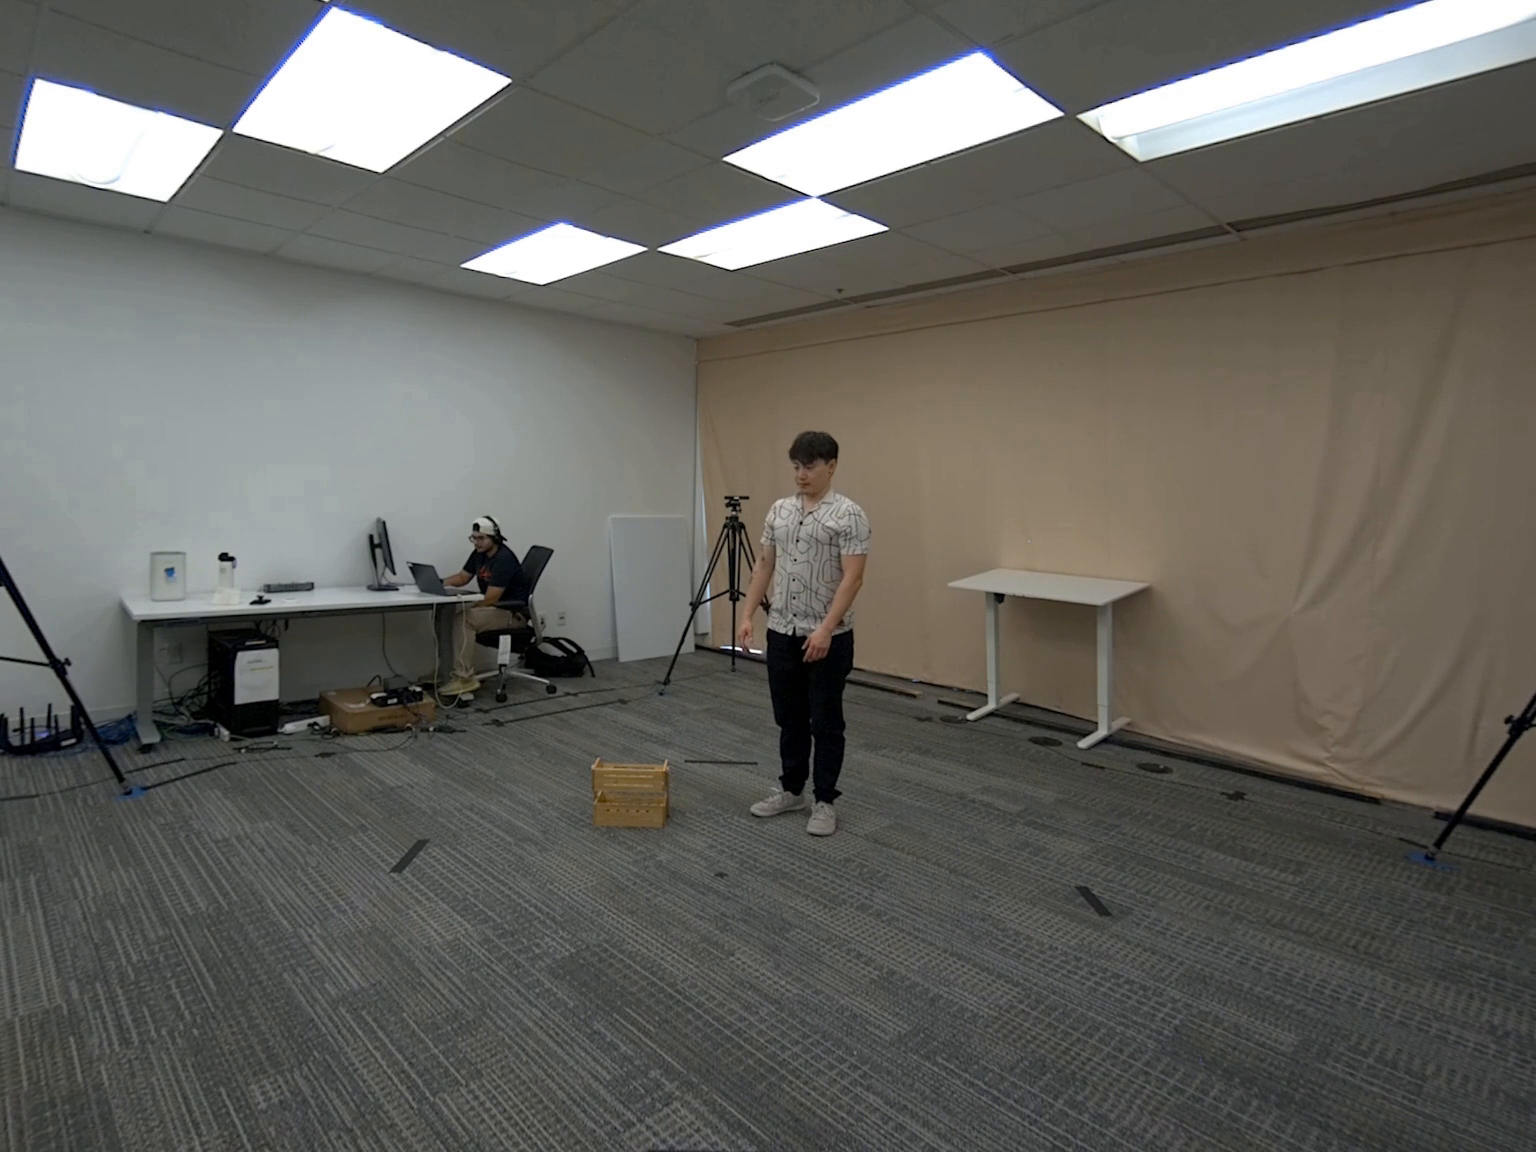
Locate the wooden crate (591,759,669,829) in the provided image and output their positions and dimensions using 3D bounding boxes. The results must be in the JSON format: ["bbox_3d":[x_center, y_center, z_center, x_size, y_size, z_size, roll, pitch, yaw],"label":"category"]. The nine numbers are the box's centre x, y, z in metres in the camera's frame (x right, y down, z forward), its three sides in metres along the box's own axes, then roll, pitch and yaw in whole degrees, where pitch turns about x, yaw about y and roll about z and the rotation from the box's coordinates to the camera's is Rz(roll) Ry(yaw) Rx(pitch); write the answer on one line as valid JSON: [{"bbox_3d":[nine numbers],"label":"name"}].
[{"bbox_3d":[-0.595,0.913,3.637,0.324,0.273,0.303,1,4,-3],"label":"wooden crate"}]
